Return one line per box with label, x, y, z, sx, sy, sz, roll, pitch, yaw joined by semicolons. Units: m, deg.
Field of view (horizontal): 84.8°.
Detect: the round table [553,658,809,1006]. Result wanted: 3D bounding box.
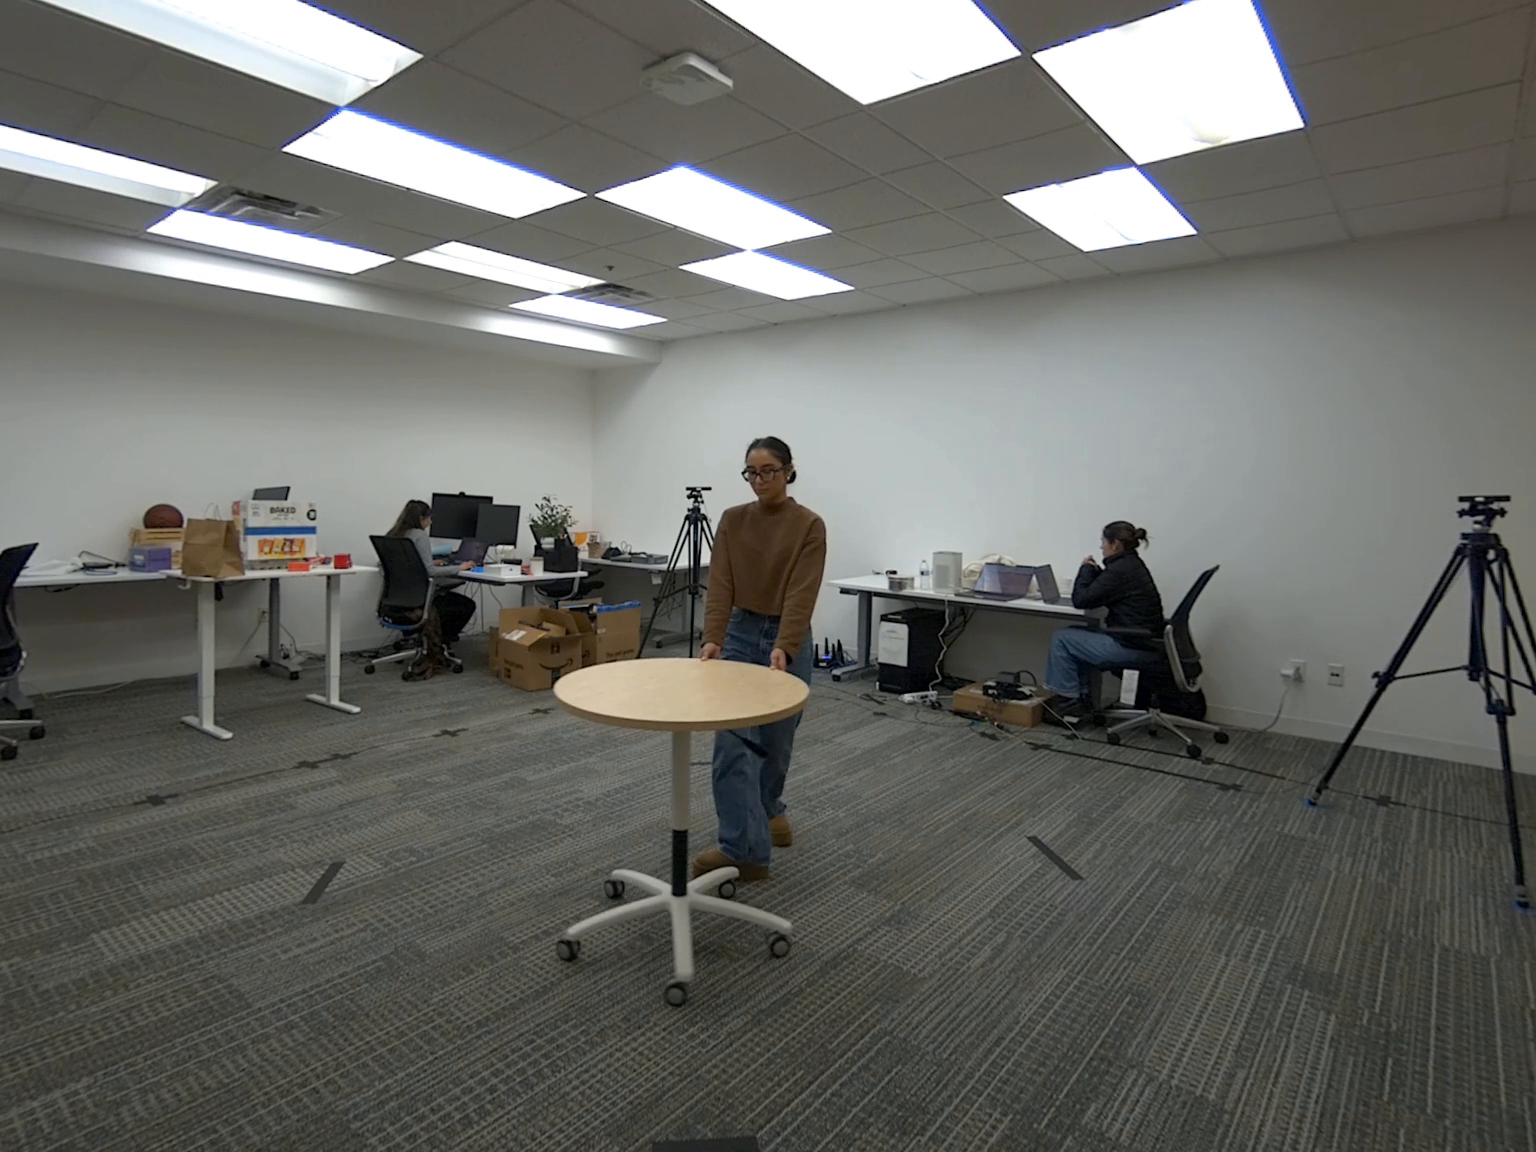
round table;-0.284;0.716;2.628;0.784;0.783;0.790;1;5;-2
